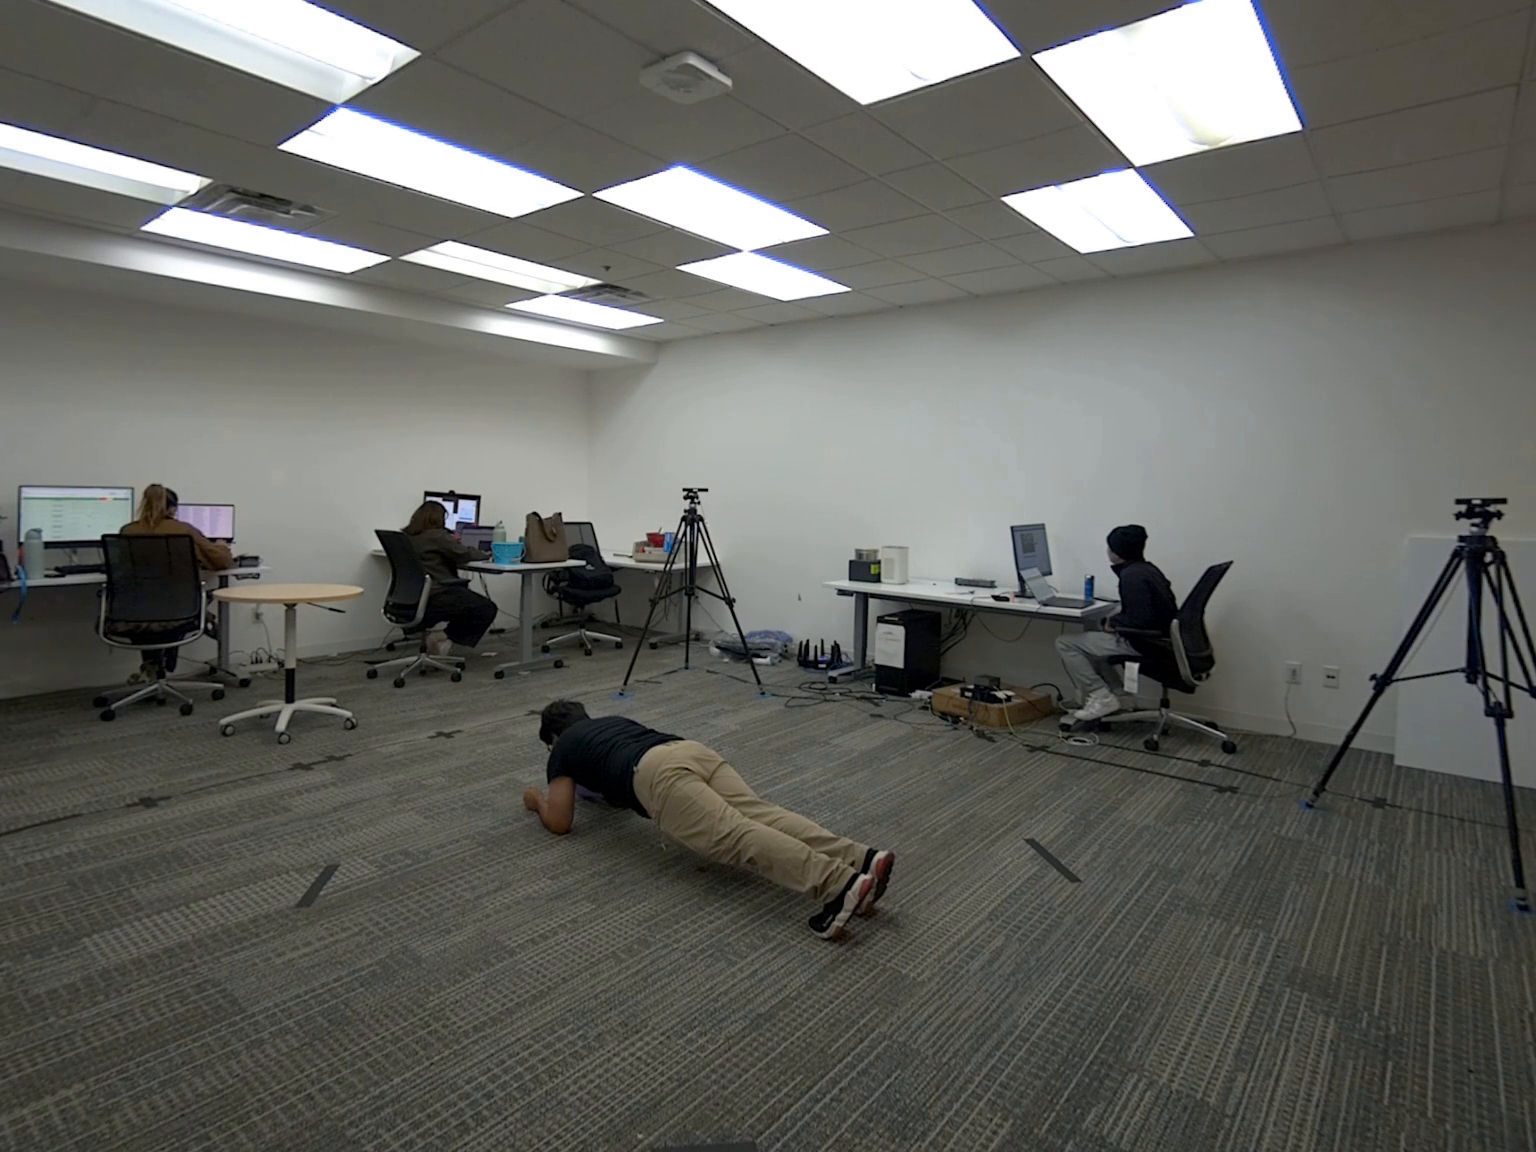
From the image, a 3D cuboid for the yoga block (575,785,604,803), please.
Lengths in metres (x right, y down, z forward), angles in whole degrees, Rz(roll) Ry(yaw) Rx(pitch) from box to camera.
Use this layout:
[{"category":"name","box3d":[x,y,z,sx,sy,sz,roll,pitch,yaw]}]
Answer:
[{"category":"yoga block","box3d":[-0.770,0.886,3.754,0.236,0.149,0.074,-7,3,45]}]
